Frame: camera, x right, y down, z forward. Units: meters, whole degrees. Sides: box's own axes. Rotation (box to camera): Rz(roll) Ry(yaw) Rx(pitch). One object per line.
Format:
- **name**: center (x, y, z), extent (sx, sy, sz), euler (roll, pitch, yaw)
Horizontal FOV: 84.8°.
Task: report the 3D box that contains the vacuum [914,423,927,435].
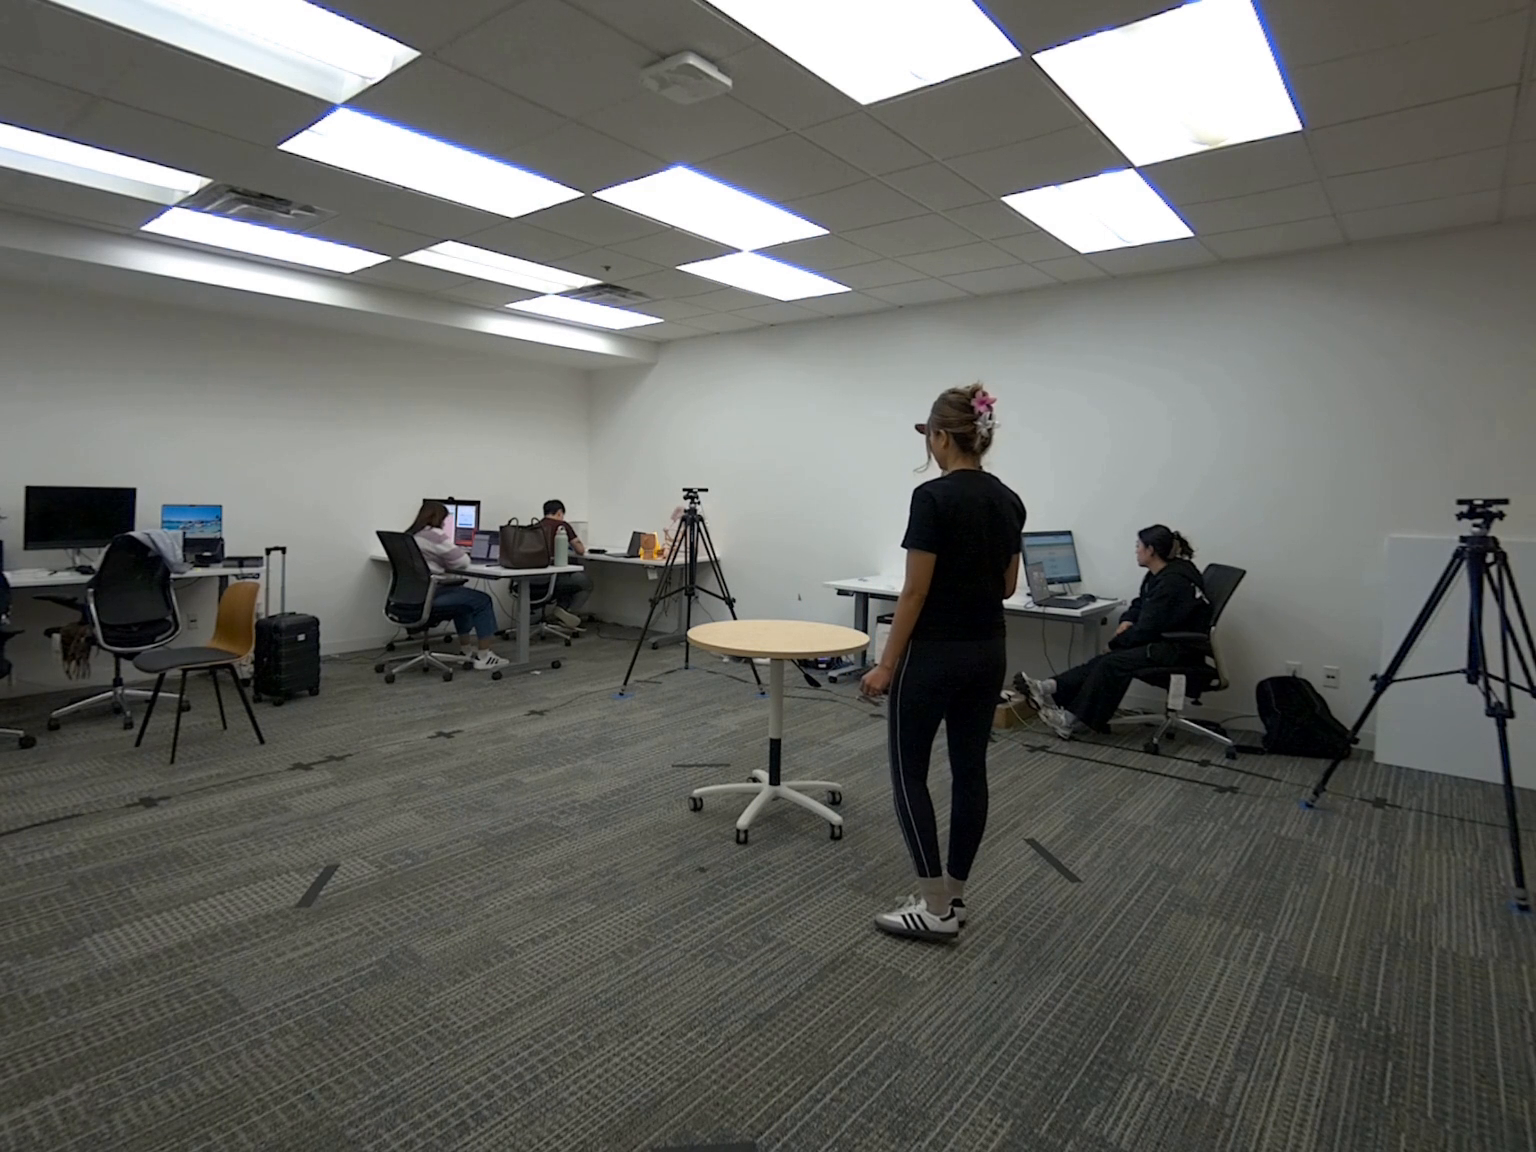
- **vacuum**: center (0.638, -0.006, 3.122), extent (0.261, 1.039, 0.140), euler (8, 12, 35)
